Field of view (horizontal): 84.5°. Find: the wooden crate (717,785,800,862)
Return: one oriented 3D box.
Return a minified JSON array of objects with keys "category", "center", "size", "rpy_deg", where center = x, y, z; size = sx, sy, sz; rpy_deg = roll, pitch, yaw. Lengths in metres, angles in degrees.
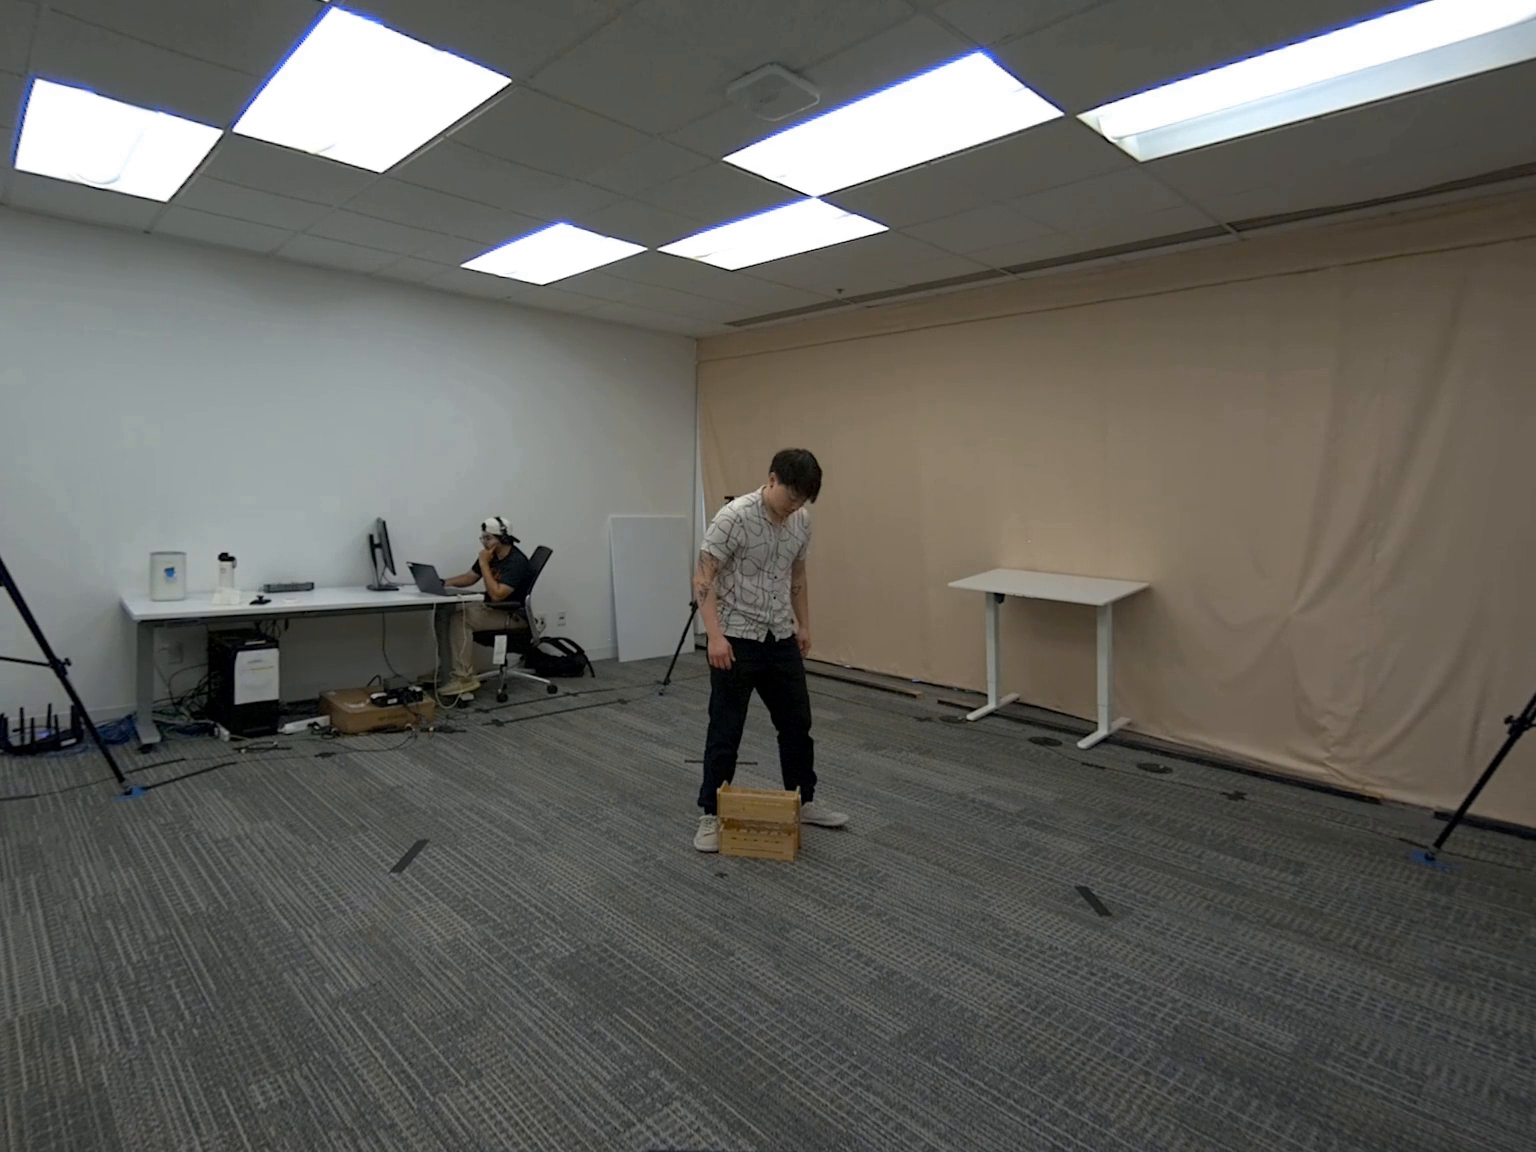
[{"category":"wooden crate","center":[-0.037,0.955,3.357],"size":[0.327,0.272,0.301],"rpy_deg":[2,5,8]}]
